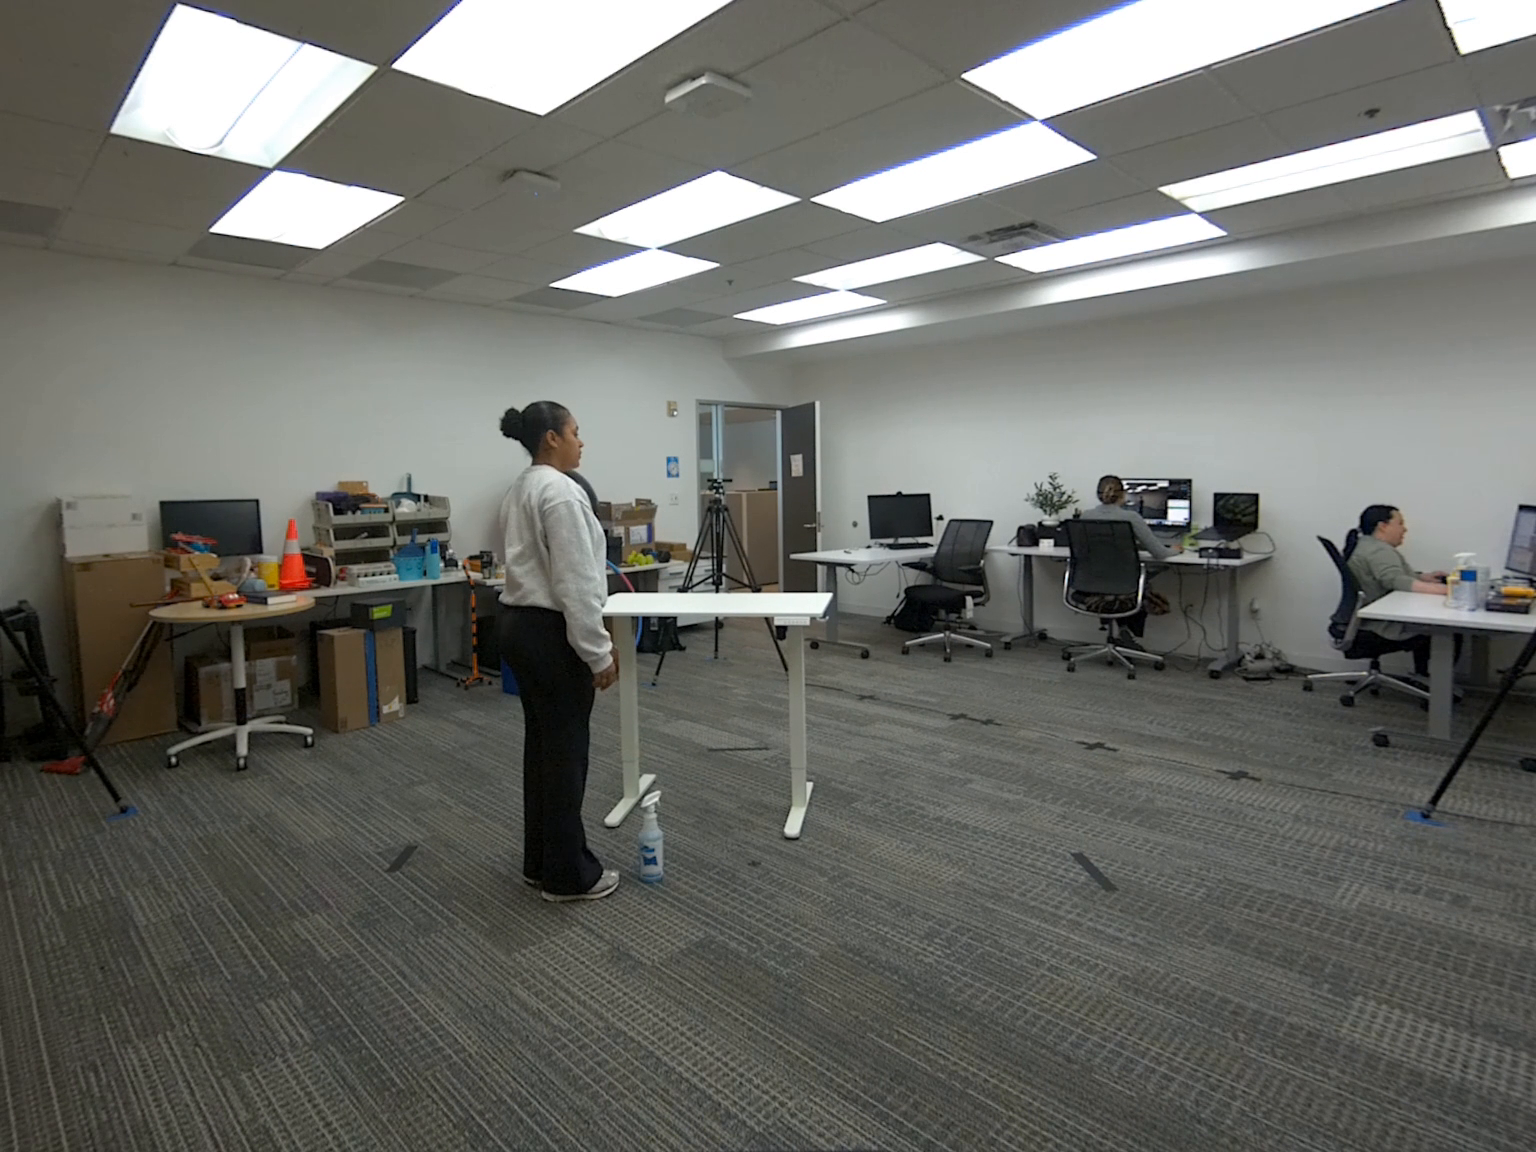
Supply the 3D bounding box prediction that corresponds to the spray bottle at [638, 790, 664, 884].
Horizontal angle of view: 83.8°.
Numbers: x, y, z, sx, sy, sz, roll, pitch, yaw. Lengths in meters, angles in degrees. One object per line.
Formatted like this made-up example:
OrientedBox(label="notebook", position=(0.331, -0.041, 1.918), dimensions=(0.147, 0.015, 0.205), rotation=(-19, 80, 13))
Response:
OrientedBox(label="spray bottle", position=(-0.408, 0.909, 3.000), dimensions=(0.088, 0.297, 0.089), rotation=(1, 2, -27))
